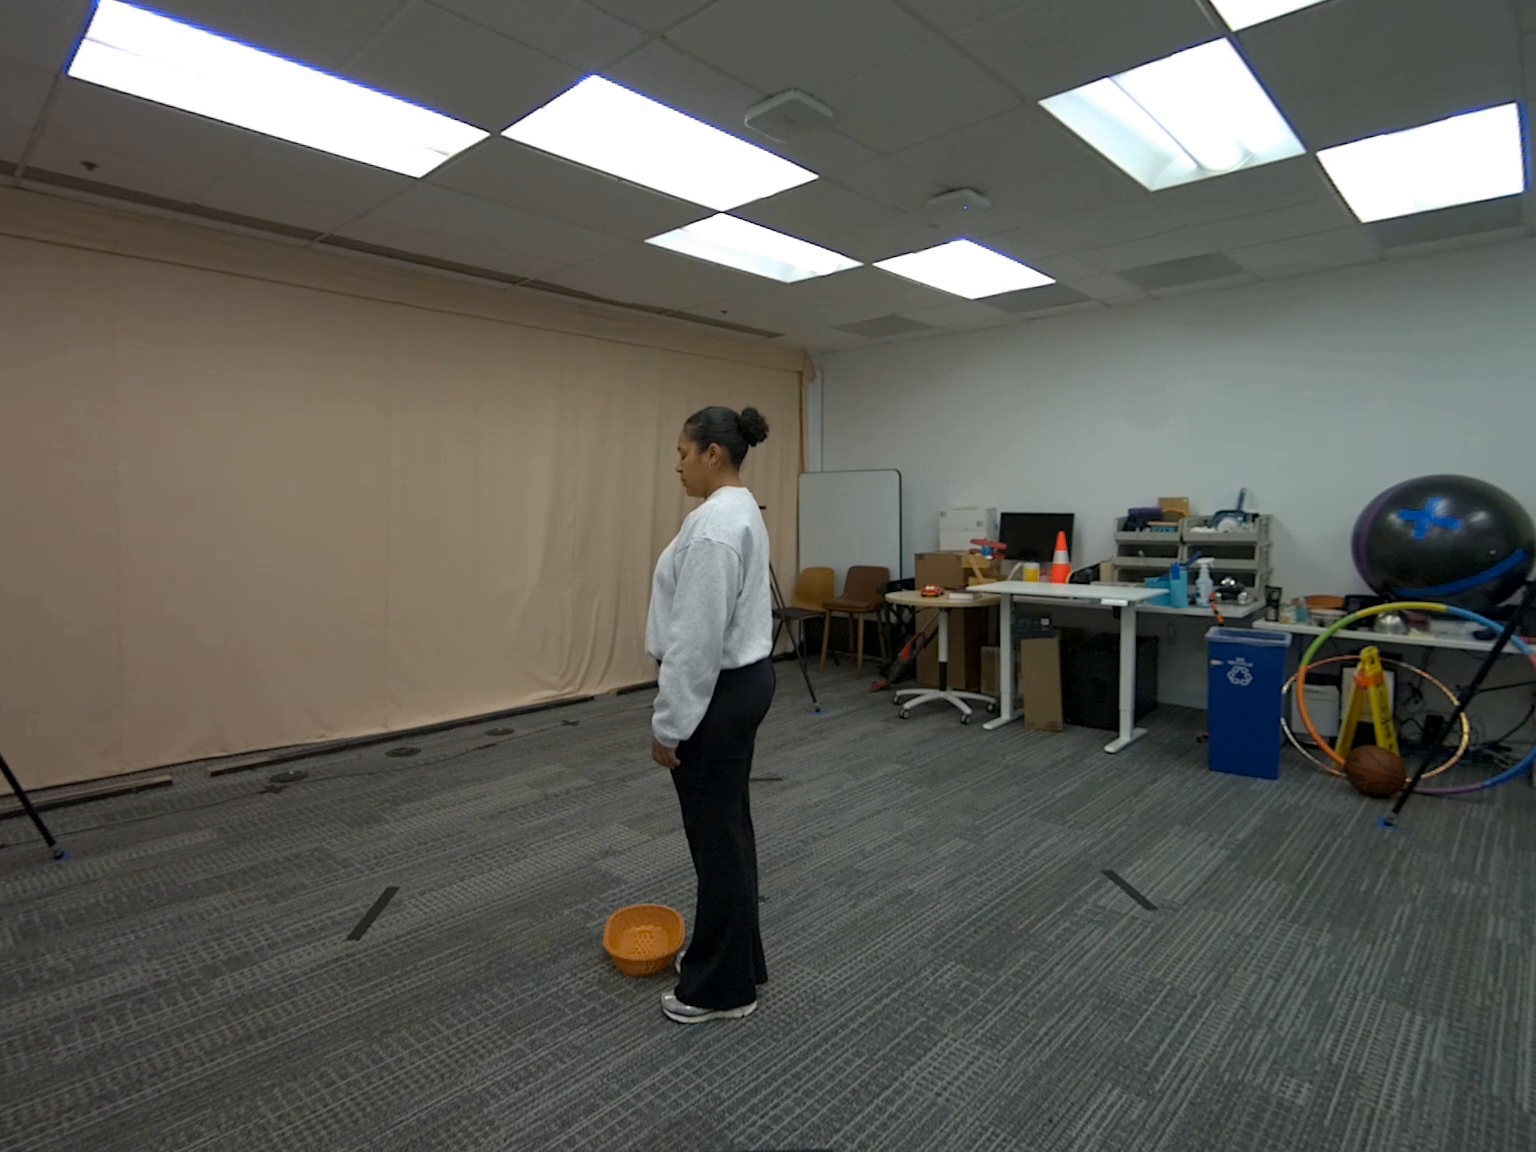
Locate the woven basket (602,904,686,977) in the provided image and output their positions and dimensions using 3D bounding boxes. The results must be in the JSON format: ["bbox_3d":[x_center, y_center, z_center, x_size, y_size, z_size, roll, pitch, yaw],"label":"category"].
[{"bbox_3d":[-0.390,1.136,2.634,0.252,0.073,0.351,0,4,-2],"label":"woven basket"}]
